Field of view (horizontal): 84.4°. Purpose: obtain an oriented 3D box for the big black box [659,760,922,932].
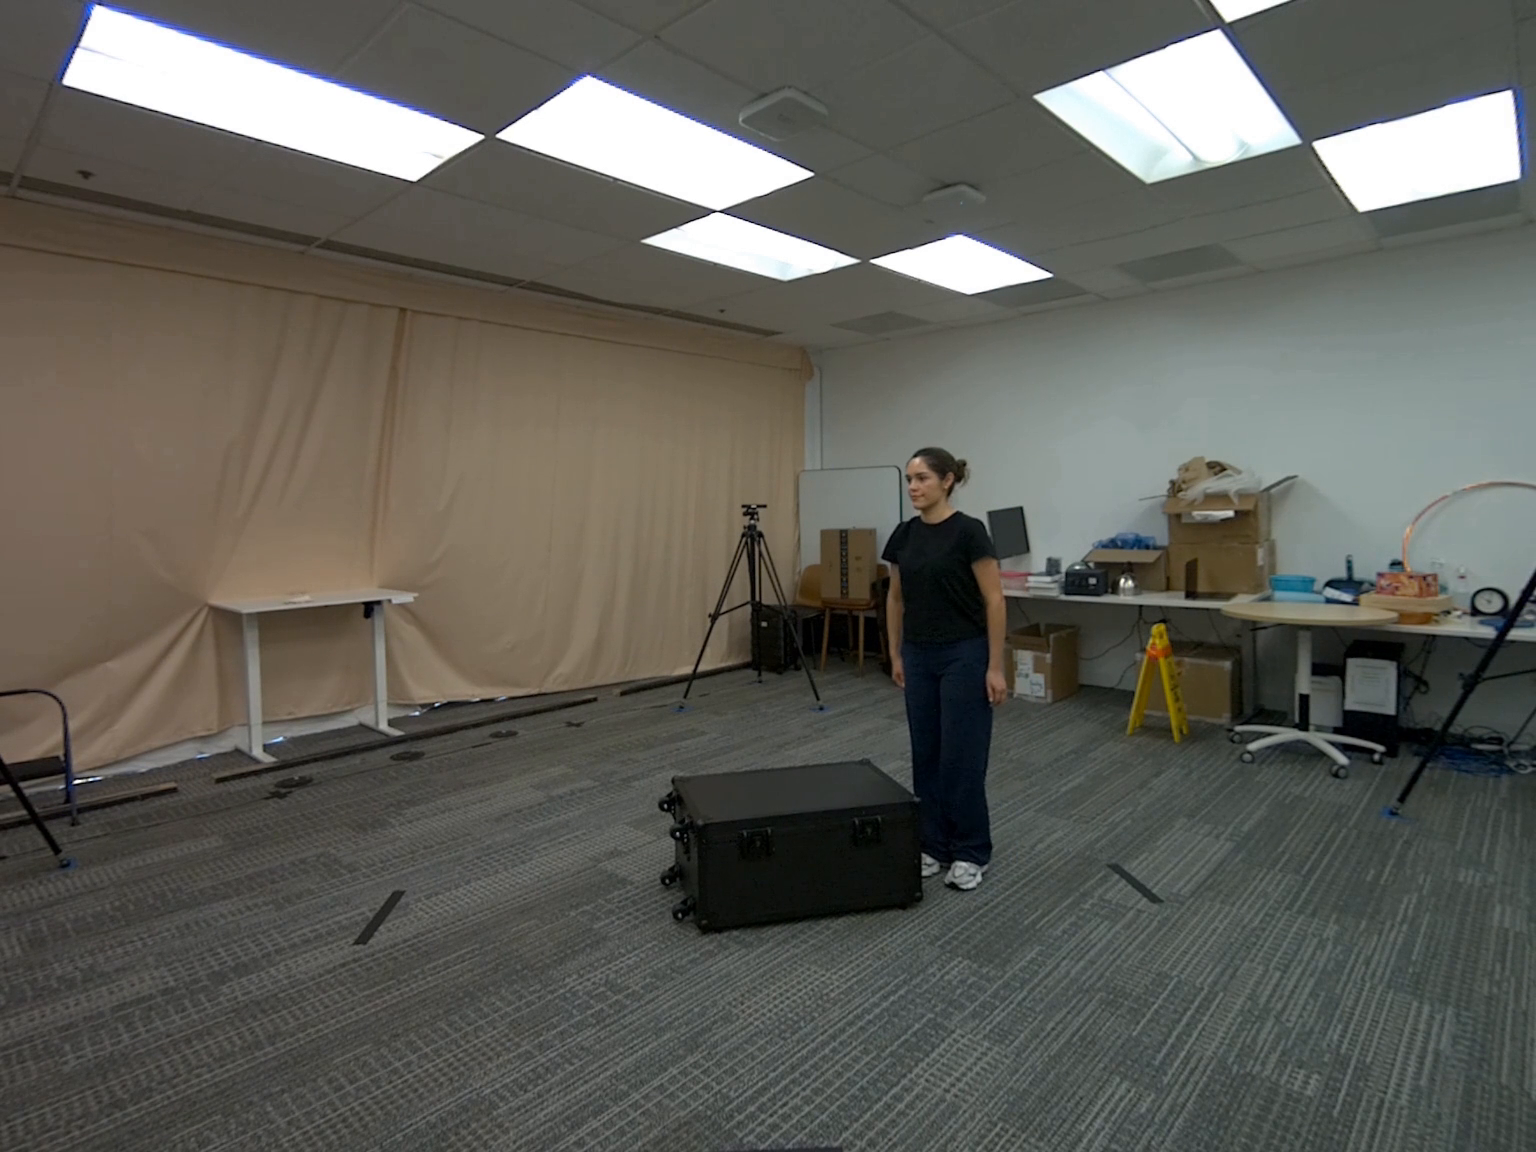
[{"bbox_3d":[0.068,0.942,3.014,0.849,0.395,0.530,-2,4,-14],"label":"big black box"}]
